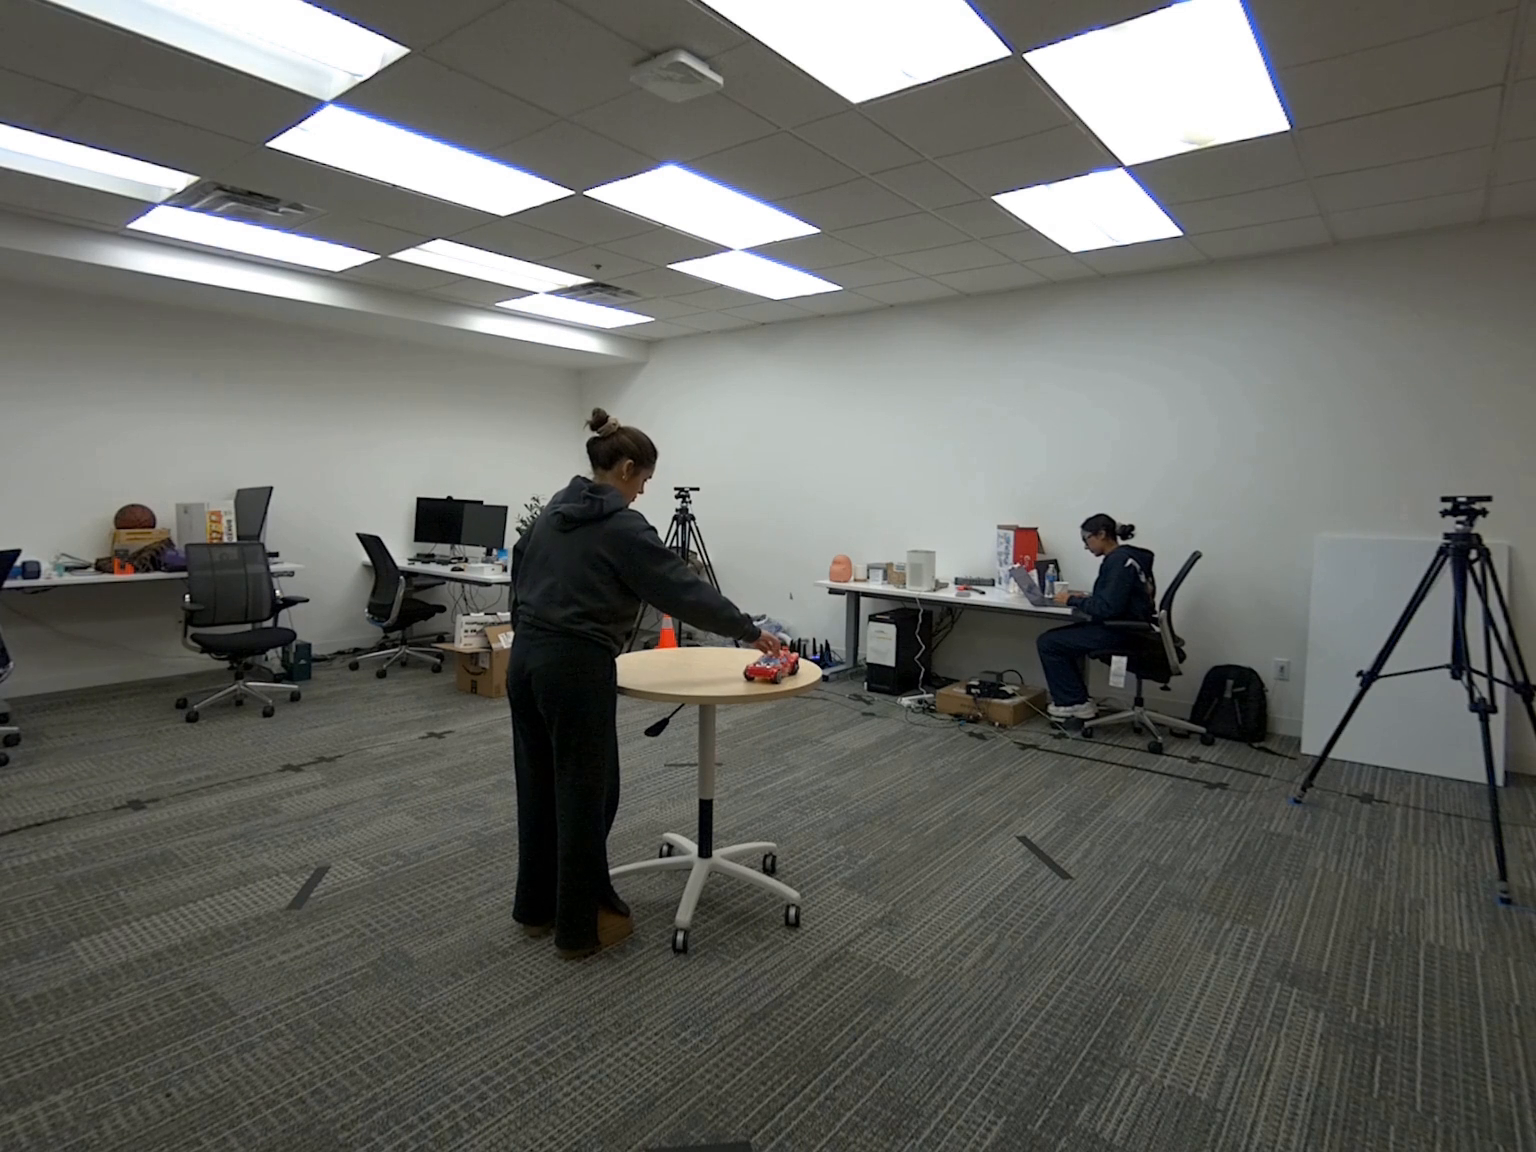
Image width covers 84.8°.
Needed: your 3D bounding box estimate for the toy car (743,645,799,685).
[{"bbox_3d":[0.021,0.294,2.747,0.133,0.082,0.252,2,17,24],"label":"toy car"}]
